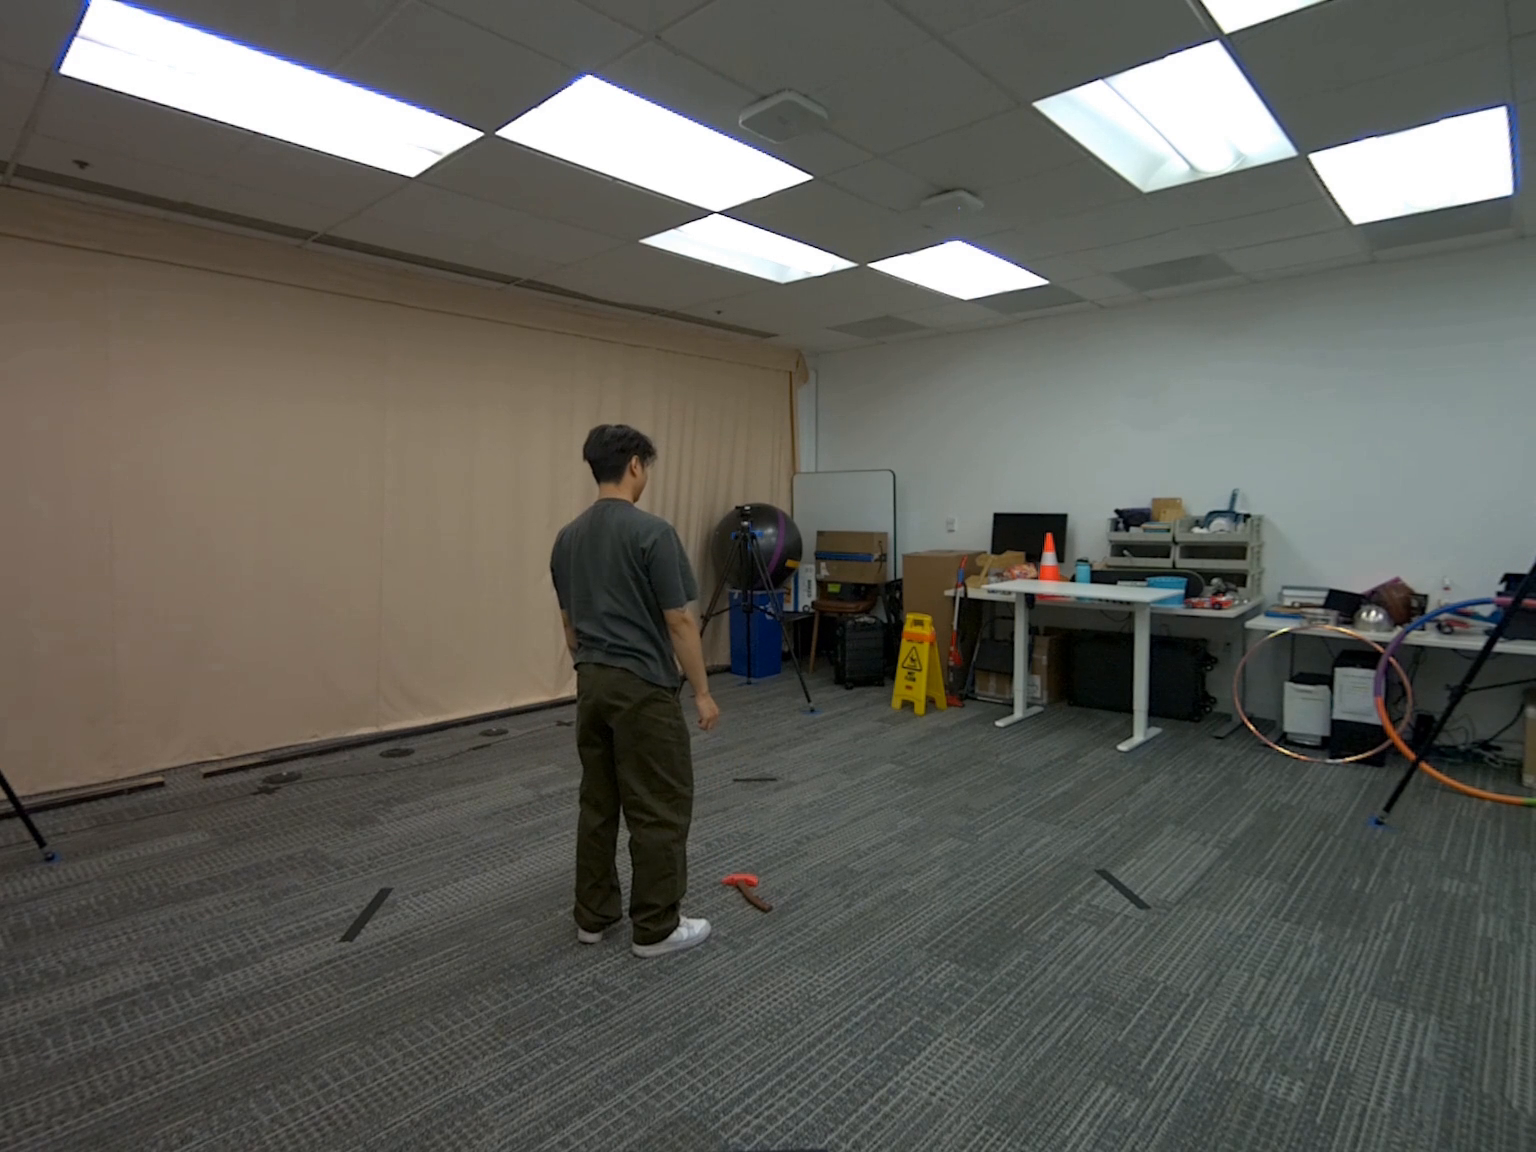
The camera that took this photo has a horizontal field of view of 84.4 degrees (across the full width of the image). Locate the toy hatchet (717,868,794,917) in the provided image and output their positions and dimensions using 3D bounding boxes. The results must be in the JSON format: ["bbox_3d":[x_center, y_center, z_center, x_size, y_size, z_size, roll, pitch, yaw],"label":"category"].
[{"bbox_3d":[-0.050,1.124,3.021,0.127,0.029,0.279,0,6,-38],"label":"toy hatchet"}]
